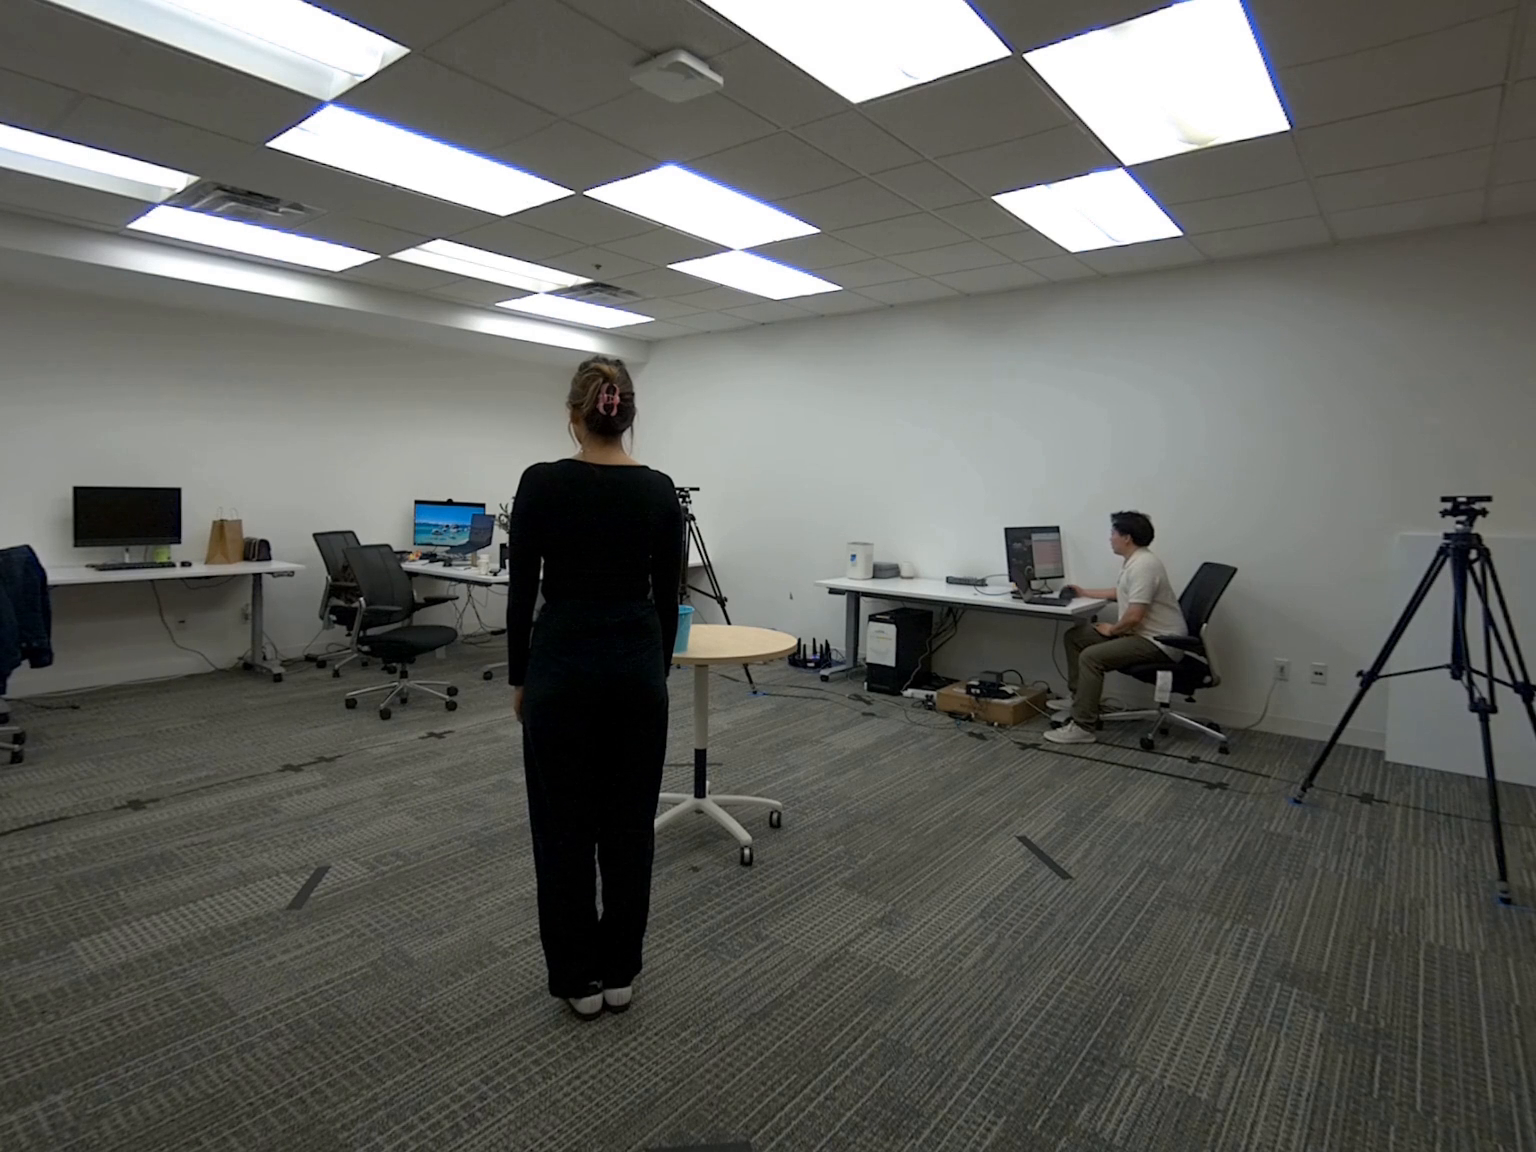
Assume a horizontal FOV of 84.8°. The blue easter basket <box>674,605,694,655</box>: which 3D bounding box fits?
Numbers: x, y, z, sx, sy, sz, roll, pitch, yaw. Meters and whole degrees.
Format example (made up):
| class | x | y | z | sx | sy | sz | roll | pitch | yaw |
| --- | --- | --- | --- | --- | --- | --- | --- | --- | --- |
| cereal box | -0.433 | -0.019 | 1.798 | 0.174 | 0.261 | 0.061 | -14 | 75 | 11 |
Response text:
| class | x | y | z | sx | sy | sz | roll | pitch | yaw |
| --- | --- | --- | --- | --- | --- | --- | --- | --- | --- |
| blue easter basket | -0.399 | 0.202 | 3.189 | 0.243 | 0.155 | 0.245 | 1 | 6 | -2 |
